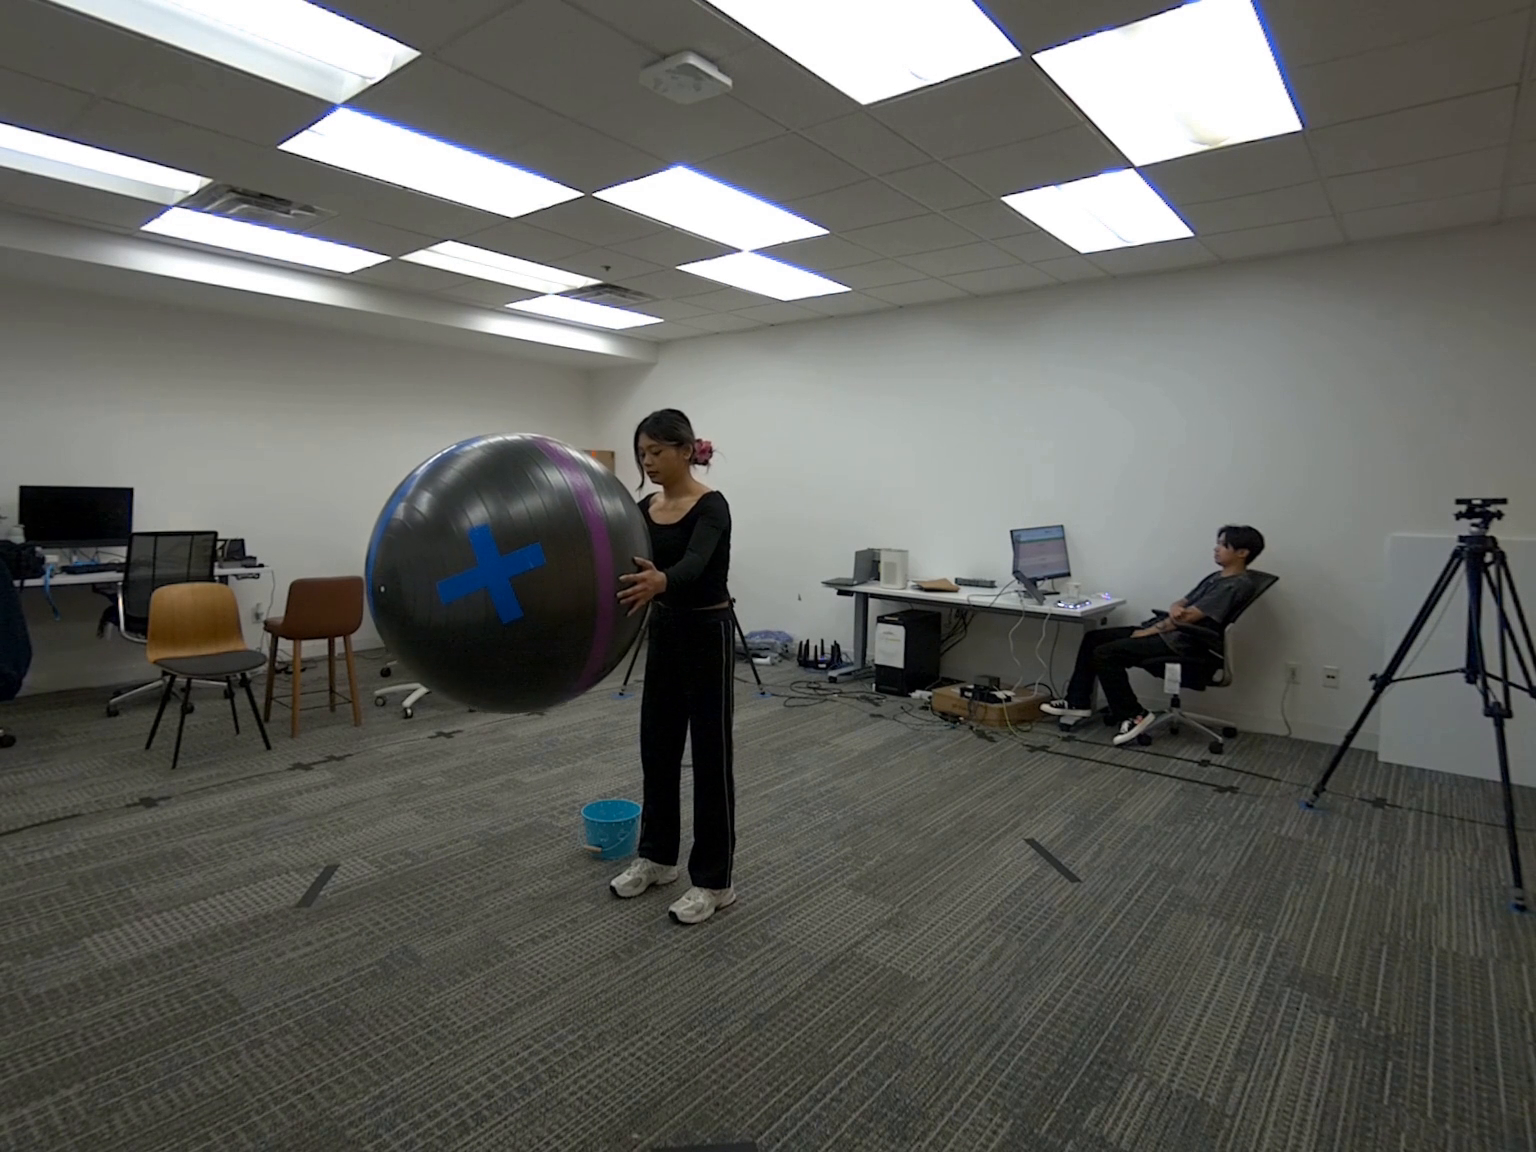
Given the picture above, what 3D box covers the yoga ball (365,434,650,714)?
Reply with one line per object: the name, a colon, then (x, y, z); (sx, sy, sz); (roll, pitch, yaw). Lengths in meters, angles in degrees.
yoga ball: (-0.706, -0.005, 2.309); (0.757, 0.755, 0.762); (1, 4, -2)
